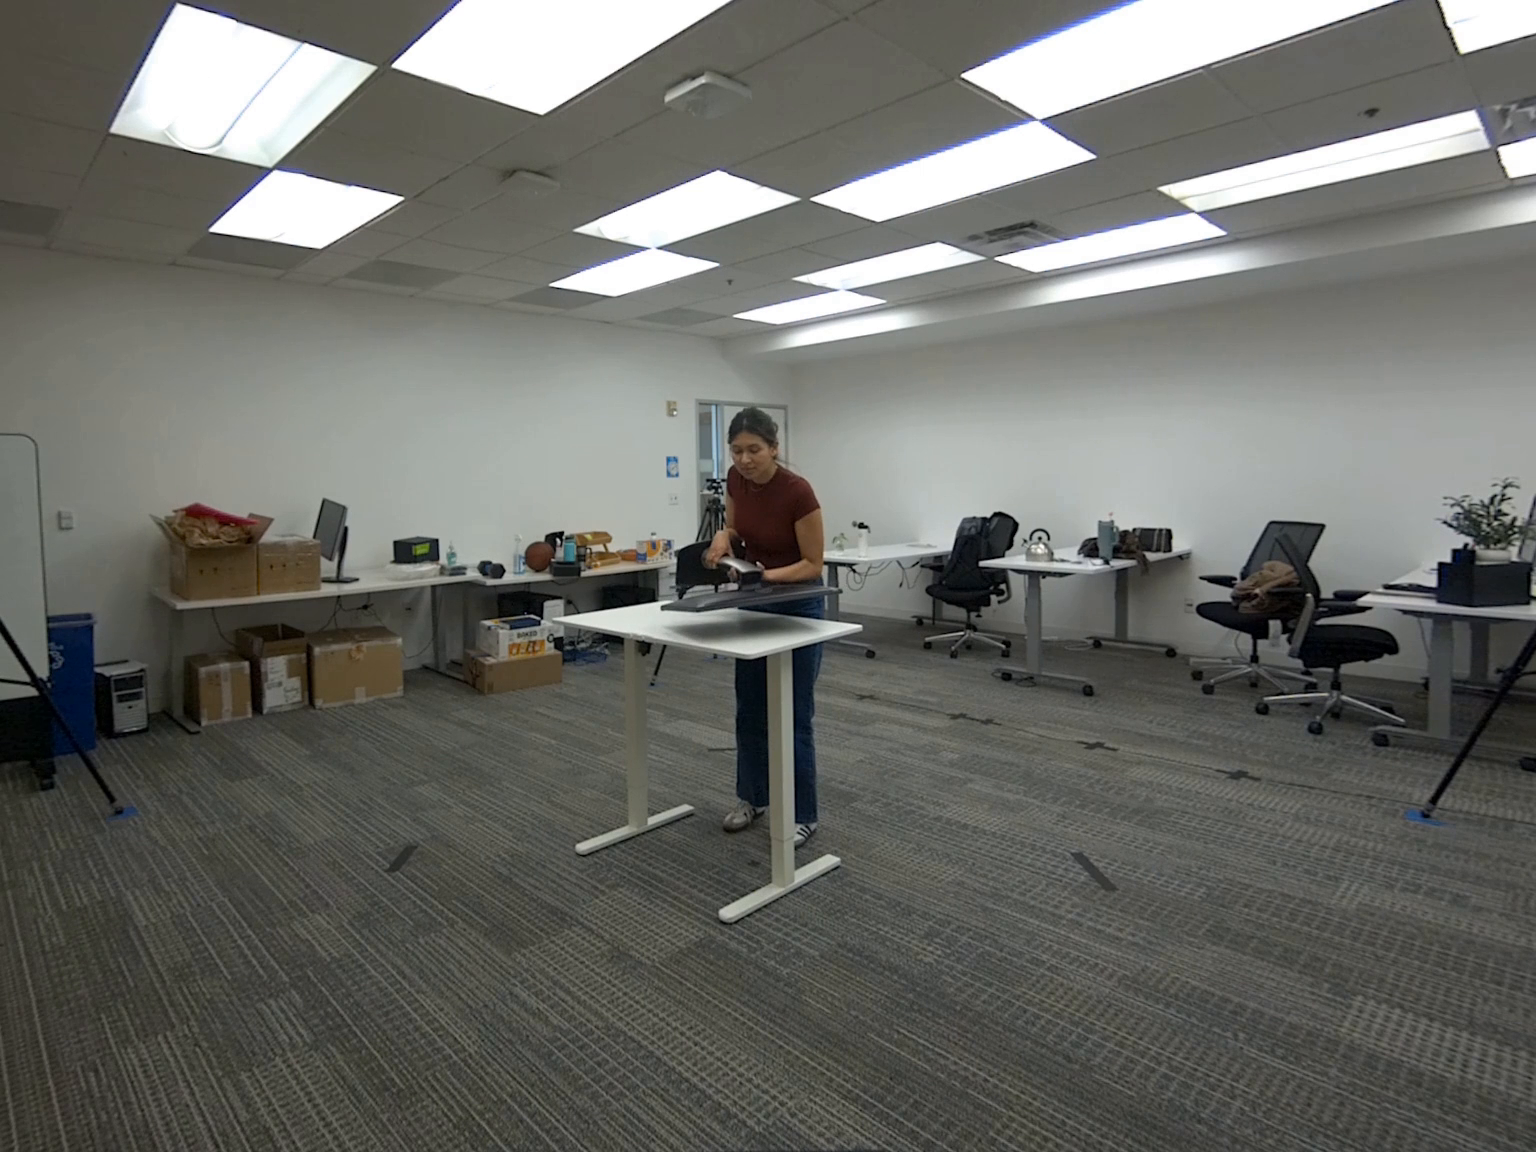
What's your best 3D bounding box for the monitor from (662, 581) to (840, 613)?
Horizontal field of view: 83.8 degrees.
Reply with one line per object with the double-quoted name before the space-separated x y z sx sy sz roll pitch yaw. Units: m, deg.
"monitor" -0.111 0.018 3.014 0.529 0.184 0.539 -8 17 -24
